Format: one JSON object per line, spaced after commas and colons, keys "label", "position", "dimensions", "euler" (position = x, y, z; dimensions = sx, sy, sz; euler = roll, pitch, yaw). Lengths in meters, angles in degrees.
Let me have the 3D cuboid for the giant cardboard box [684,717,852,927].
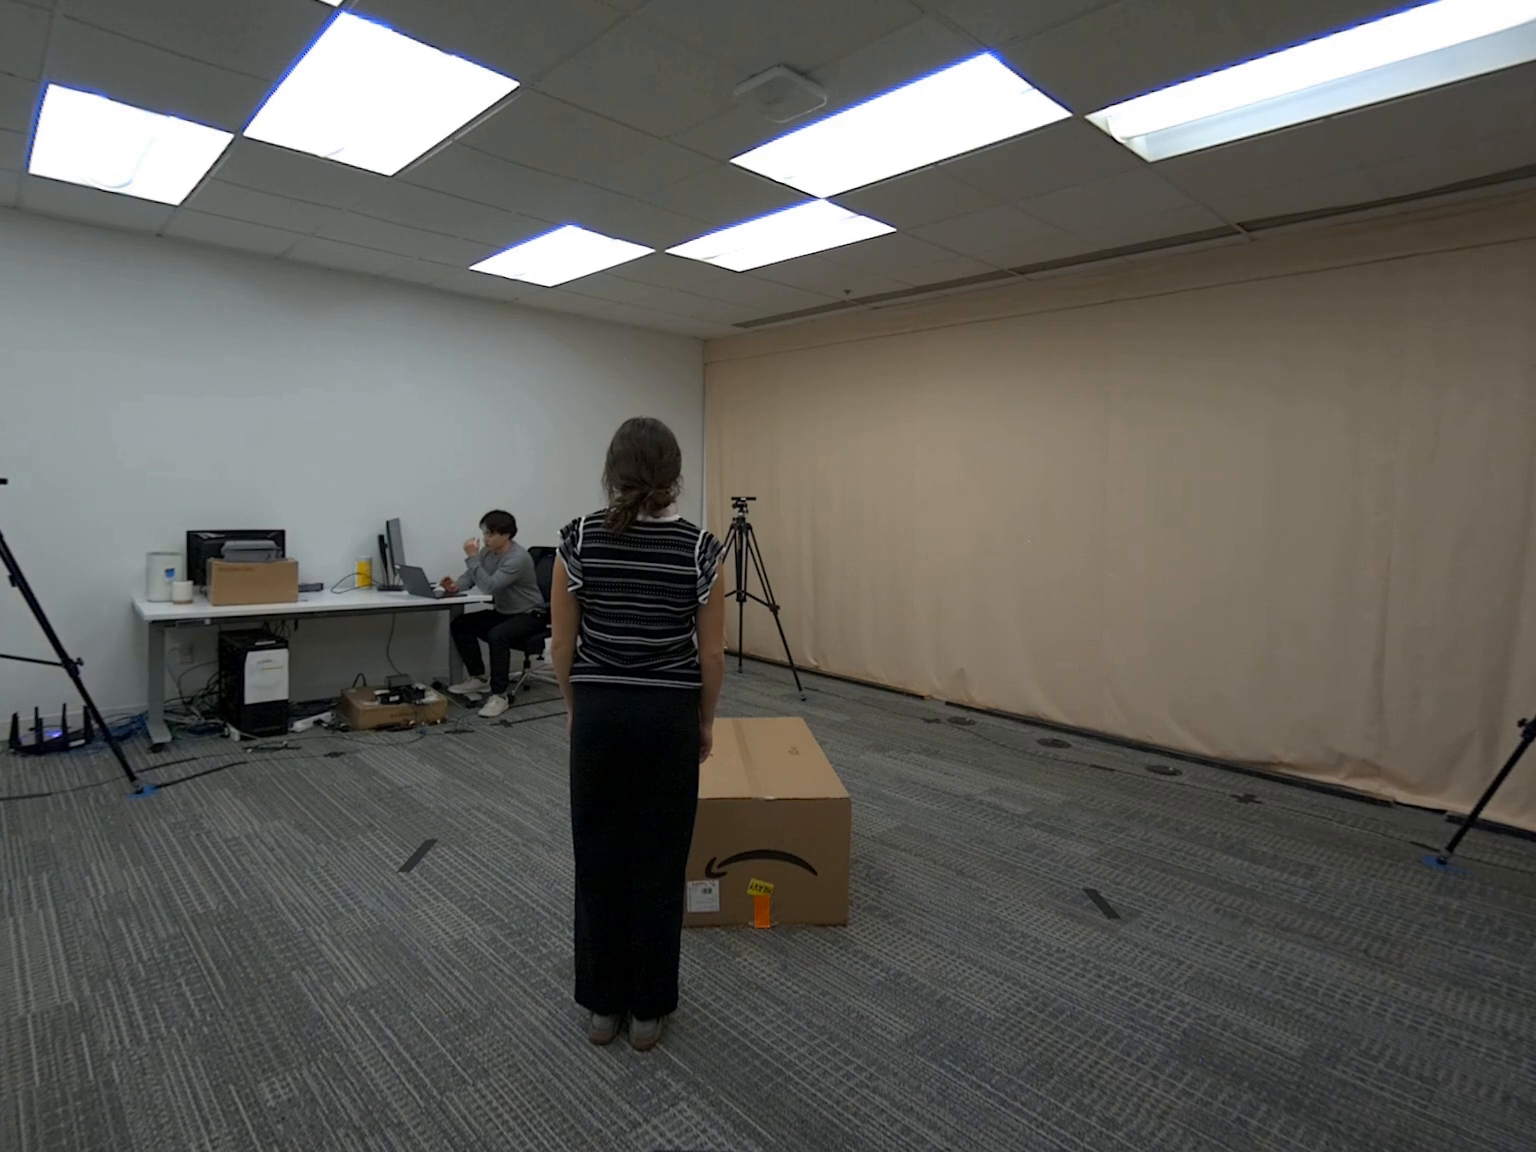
{"label": "giant cardboard box", "position": [-0.078, 0.885, 3.230], "dimensions": [0.575, 0.425, 1.033], "euler": [0, 5, -6]}
